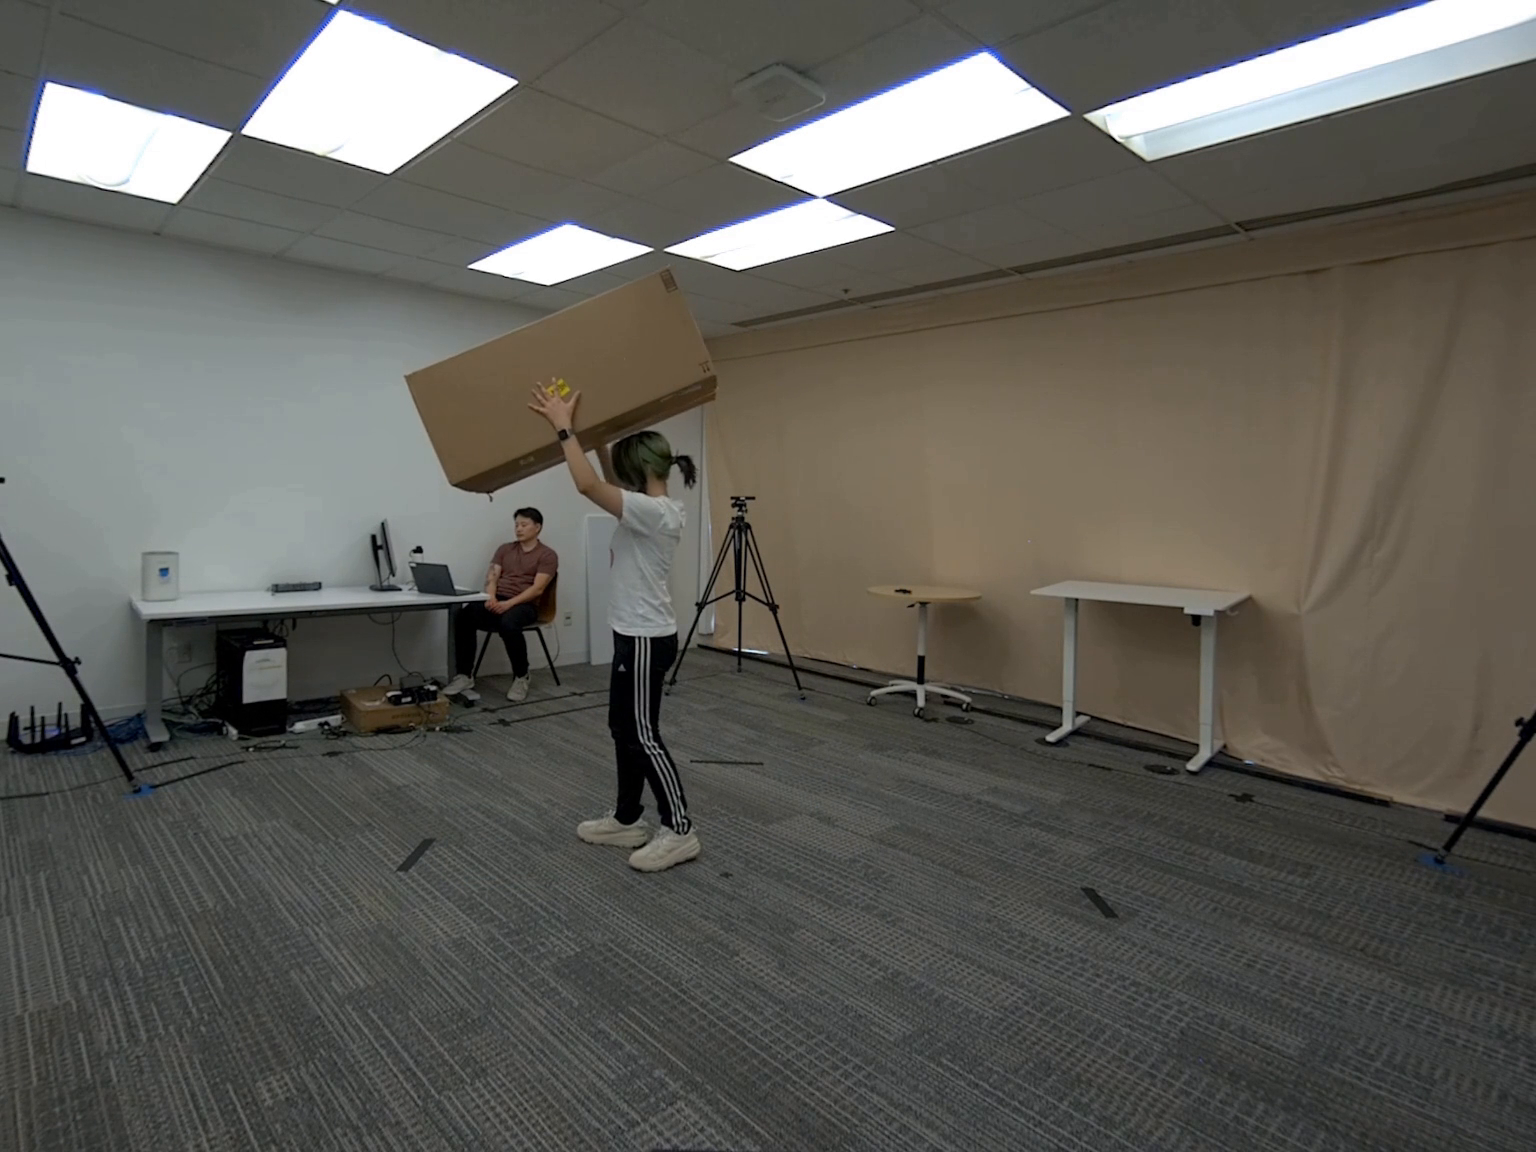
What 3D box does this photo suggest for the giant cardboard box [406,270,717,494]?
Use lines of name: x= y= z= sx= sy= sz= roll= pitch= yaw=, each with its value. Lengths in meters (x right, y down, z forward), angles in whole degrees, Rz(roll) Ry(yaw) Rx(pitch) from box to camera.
giant cardboard box: x=-0.756 y=-0.721 z=3.253 sx=1.026 sy=0.445 sz=0.586 roll=-23 pitch=5 yaw=-1
